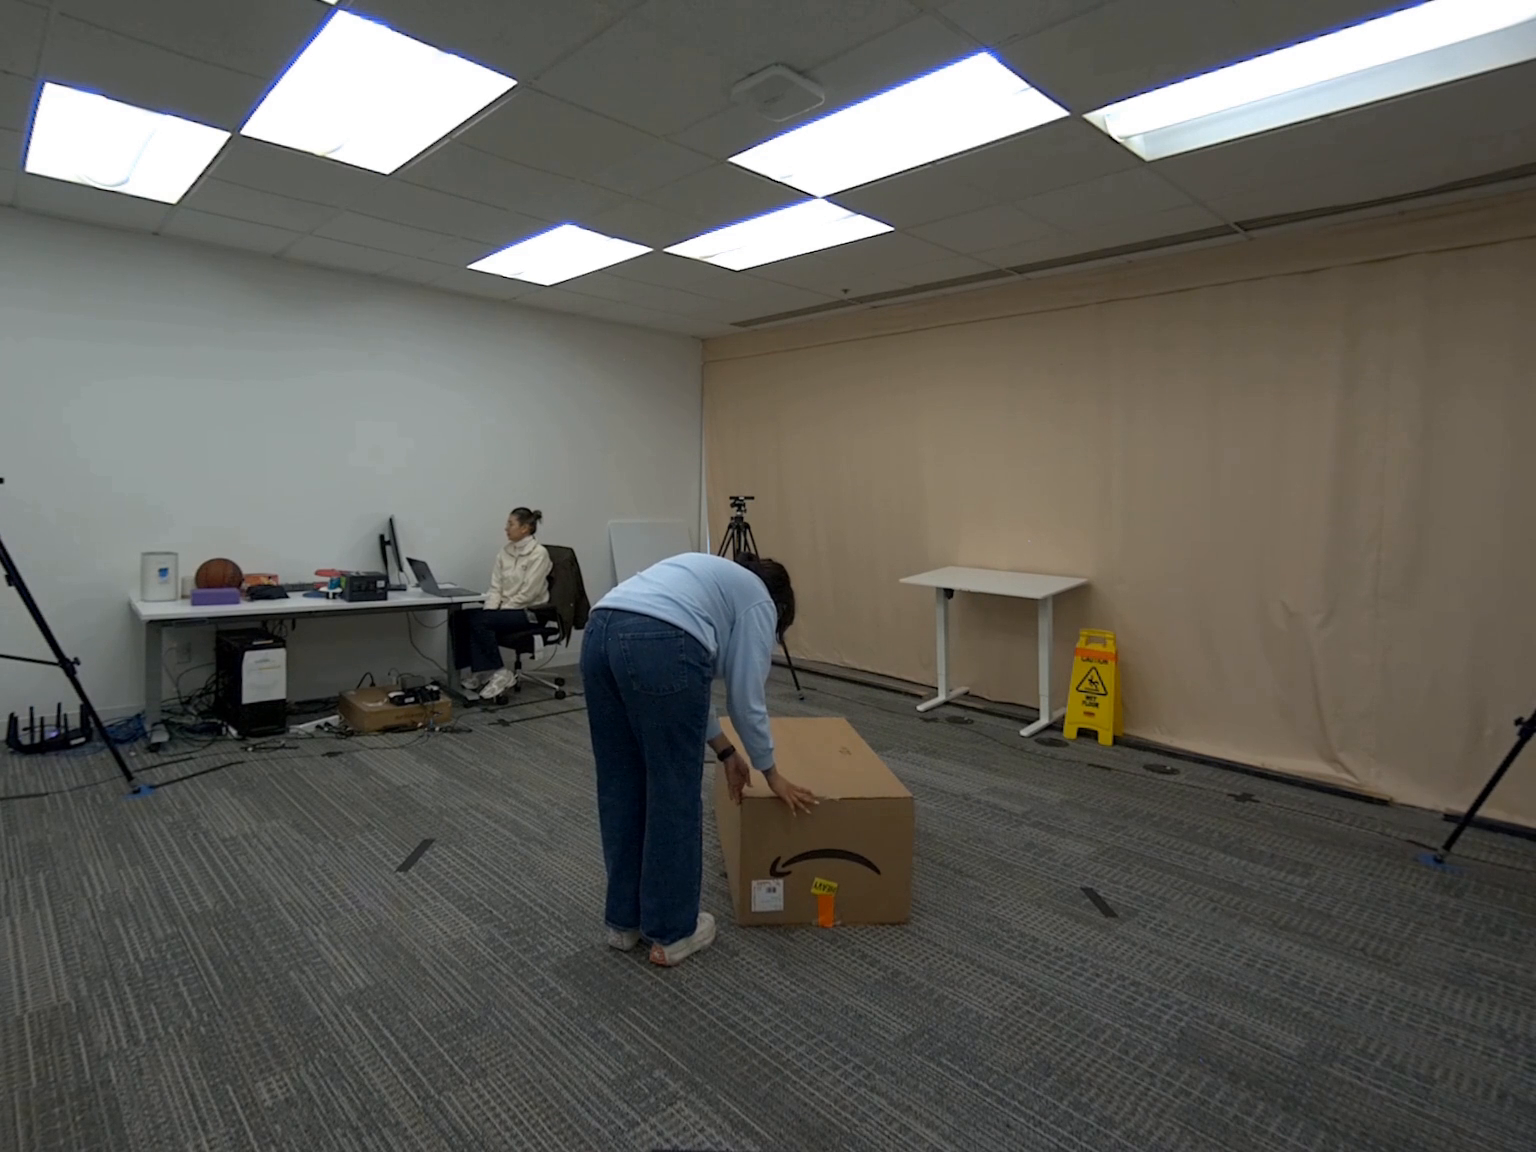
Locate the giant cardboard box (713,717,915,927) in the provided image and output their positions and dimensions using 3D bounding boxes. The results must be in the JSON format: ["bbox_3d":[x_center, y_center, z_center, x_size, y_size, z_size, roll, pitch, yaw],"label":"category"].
[{"bbox_3d":[0.116,0.885,3.248,0.575,0.425,1.034,1,5,-7],"label":"giant cardboard box"}]
